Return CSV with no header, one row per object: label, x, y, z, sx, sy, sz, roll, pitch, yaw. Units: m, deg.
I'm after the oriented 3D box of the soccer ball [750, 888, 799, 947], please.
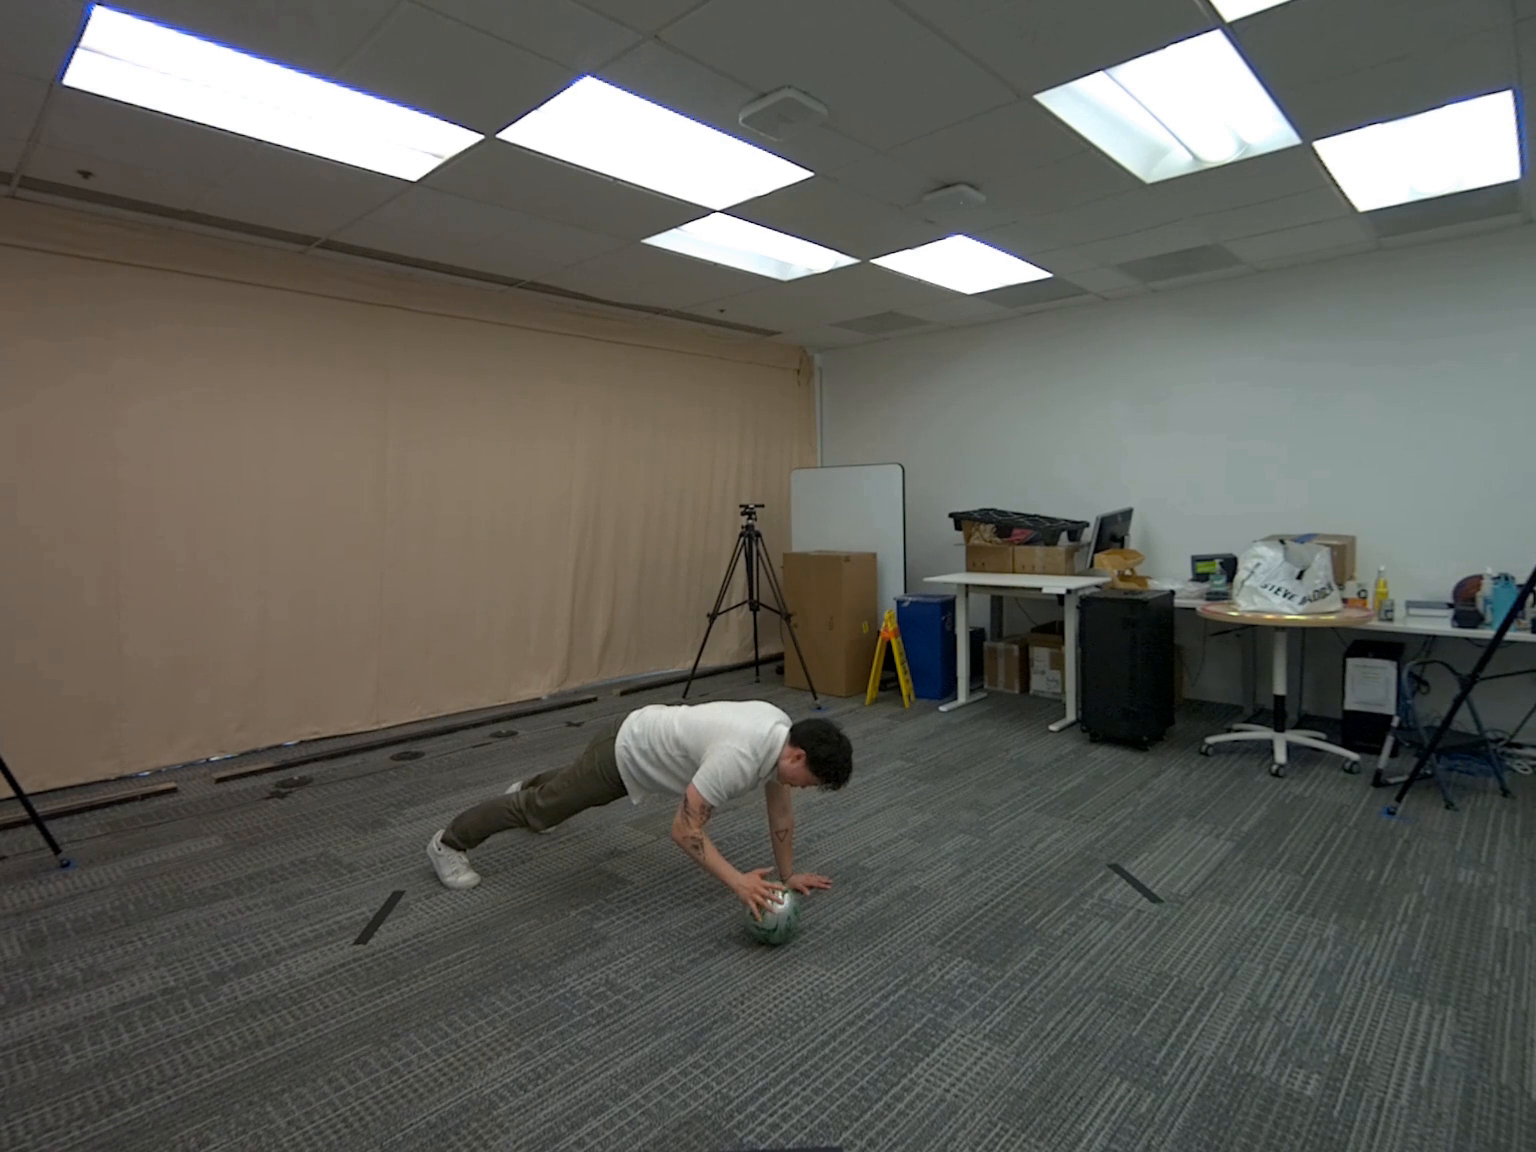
soccer ball,0.014,1.066,2.692,0.187,0.187,0.188,-1,4,-2
